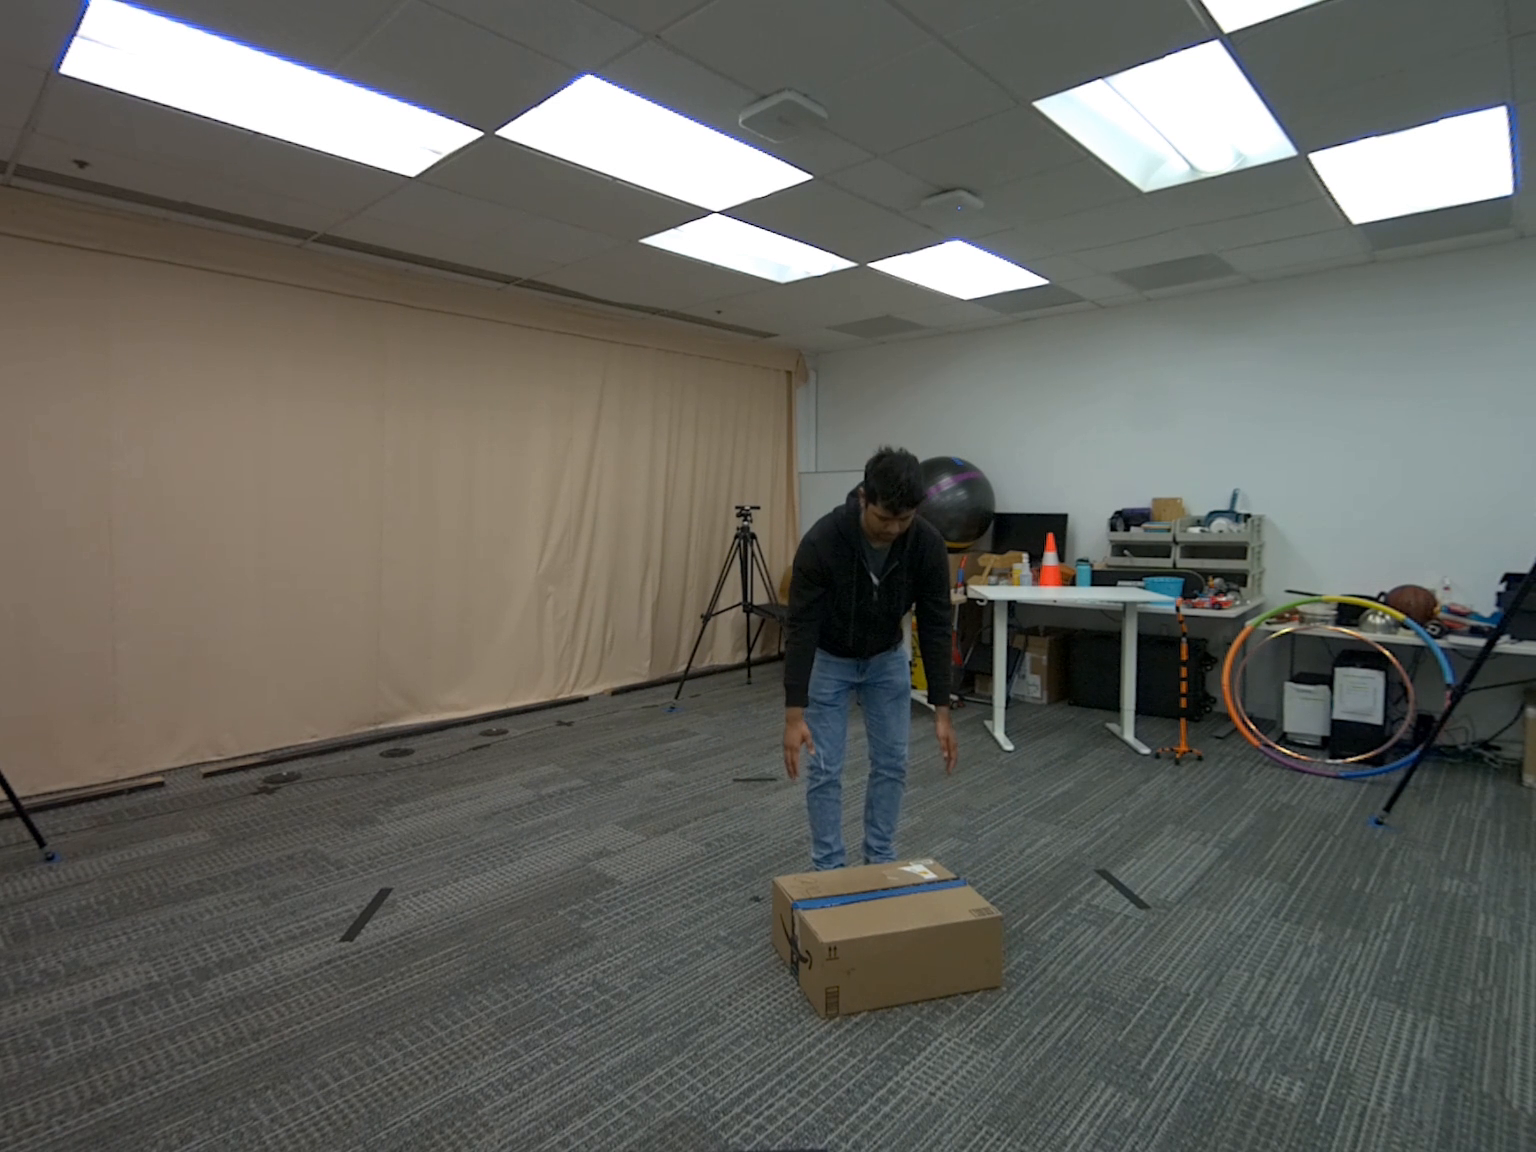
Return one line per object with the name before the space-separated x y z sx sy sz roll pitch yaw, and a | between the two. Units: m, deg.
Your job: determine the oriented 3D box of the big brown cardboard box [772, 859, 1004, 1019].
big brown cardboard box | 0.354 1.069 2.545 0.579 0.232 0.426 -3 5 -17
